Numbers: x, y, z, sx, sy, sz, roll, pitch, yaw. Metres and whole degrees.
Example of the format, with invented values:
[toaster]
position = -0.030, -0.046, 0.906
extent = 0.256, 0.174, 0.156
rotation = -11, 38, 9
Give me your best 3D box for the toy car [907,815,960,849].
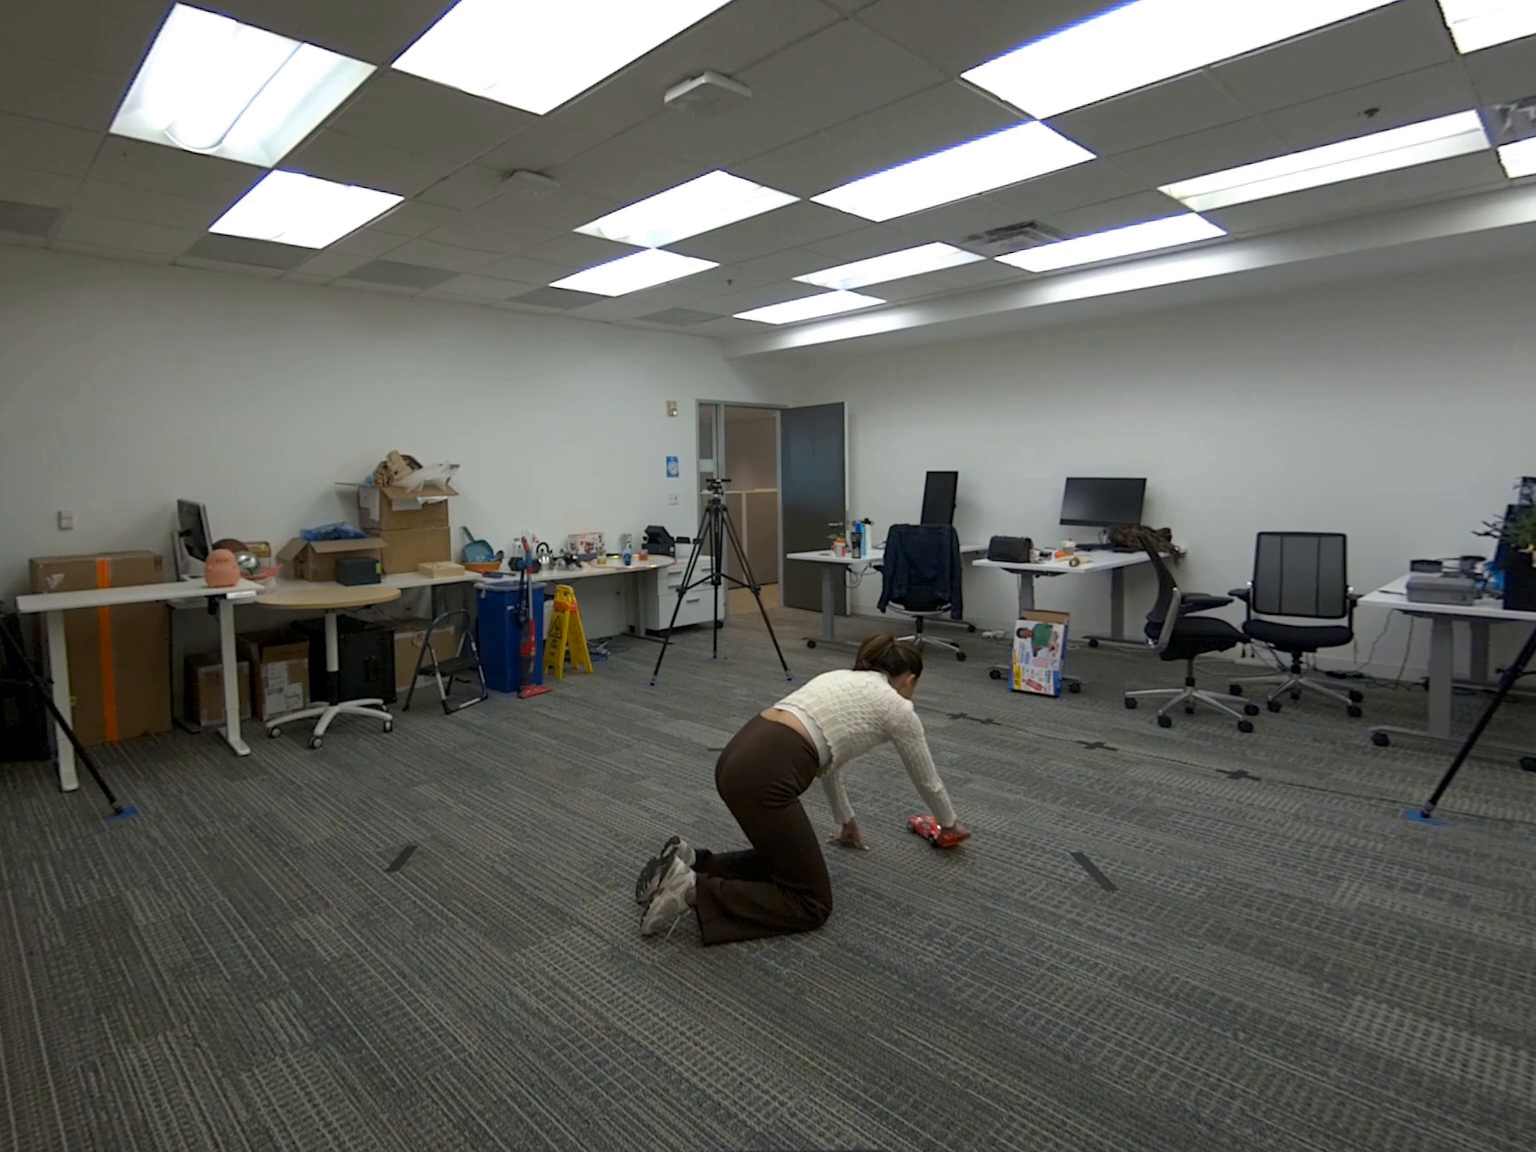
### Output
[toy car]
position = 0.649, 0.980, 3.278
extent = 0.128, 0.083, 0.258
rotation = -5, -4, -23
